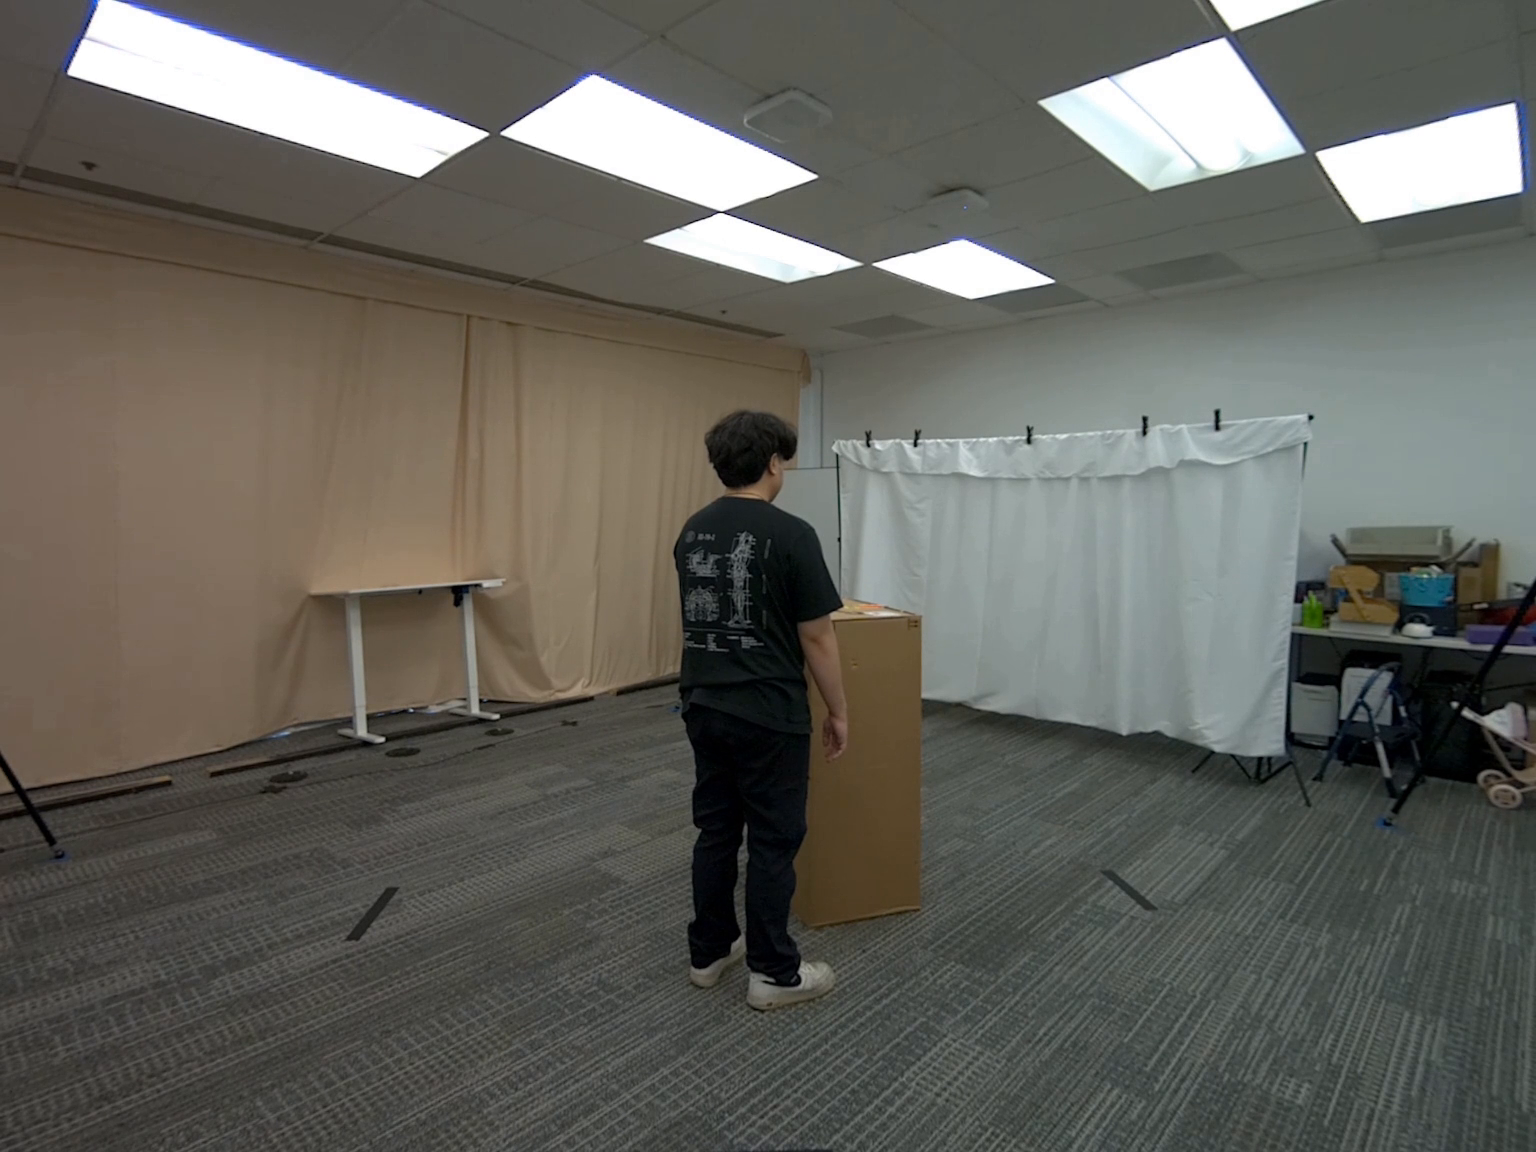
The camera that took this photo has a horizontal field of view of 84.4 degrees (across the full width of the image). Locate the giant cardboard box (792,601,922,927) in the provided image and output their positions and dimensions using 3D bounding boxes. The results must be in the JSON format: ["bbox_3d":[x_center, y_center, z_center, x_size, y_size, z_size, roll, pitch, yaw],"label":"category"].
[{"bbox_3d":[0.229,0.623,3.079,0.438,1.025,0.597,-1,3,-21],"label":"giant cardboard box"}]
